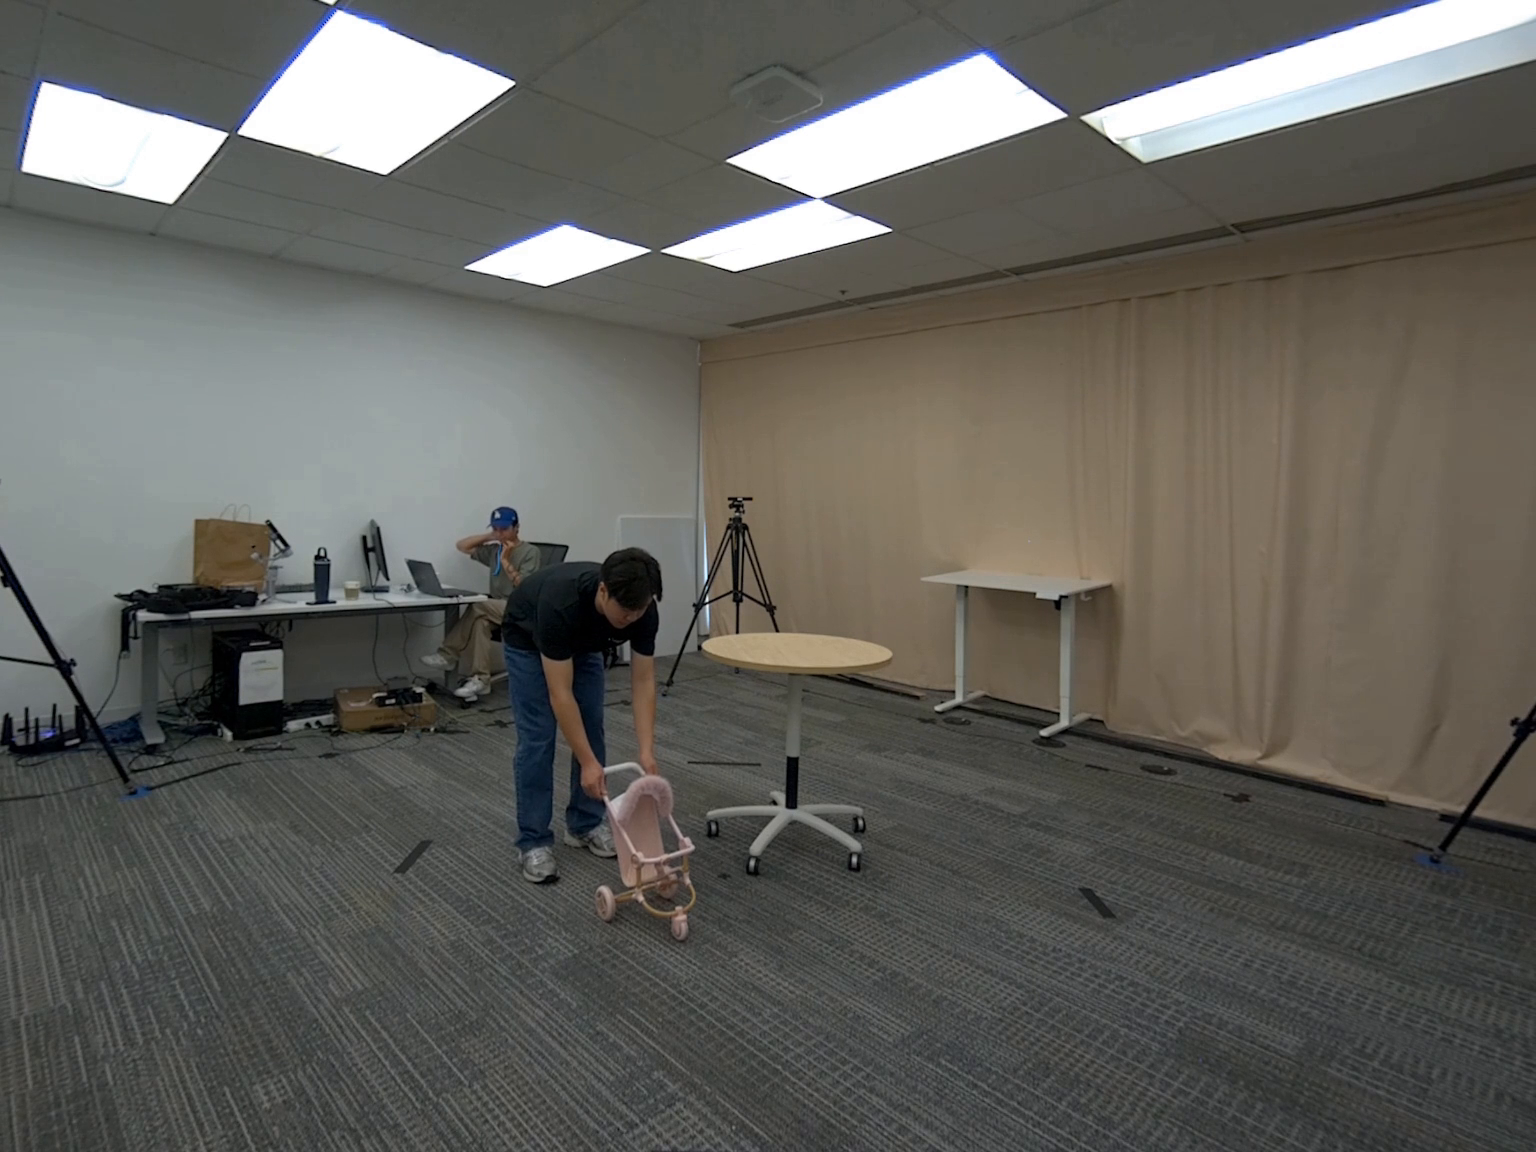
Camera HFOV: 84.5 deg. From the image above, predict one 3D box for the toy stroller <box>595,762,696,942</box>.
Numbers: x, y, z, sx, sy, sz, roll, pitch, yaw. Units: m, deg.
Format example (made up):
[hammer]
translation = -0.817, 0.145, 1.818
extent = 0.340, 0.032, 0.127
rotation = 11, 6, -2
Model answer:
[toy stroller]
translation = -0.403, 0.902, 2.778
extent = 0.275, 0.538, 0.347
rotation = -1, -9, -37
